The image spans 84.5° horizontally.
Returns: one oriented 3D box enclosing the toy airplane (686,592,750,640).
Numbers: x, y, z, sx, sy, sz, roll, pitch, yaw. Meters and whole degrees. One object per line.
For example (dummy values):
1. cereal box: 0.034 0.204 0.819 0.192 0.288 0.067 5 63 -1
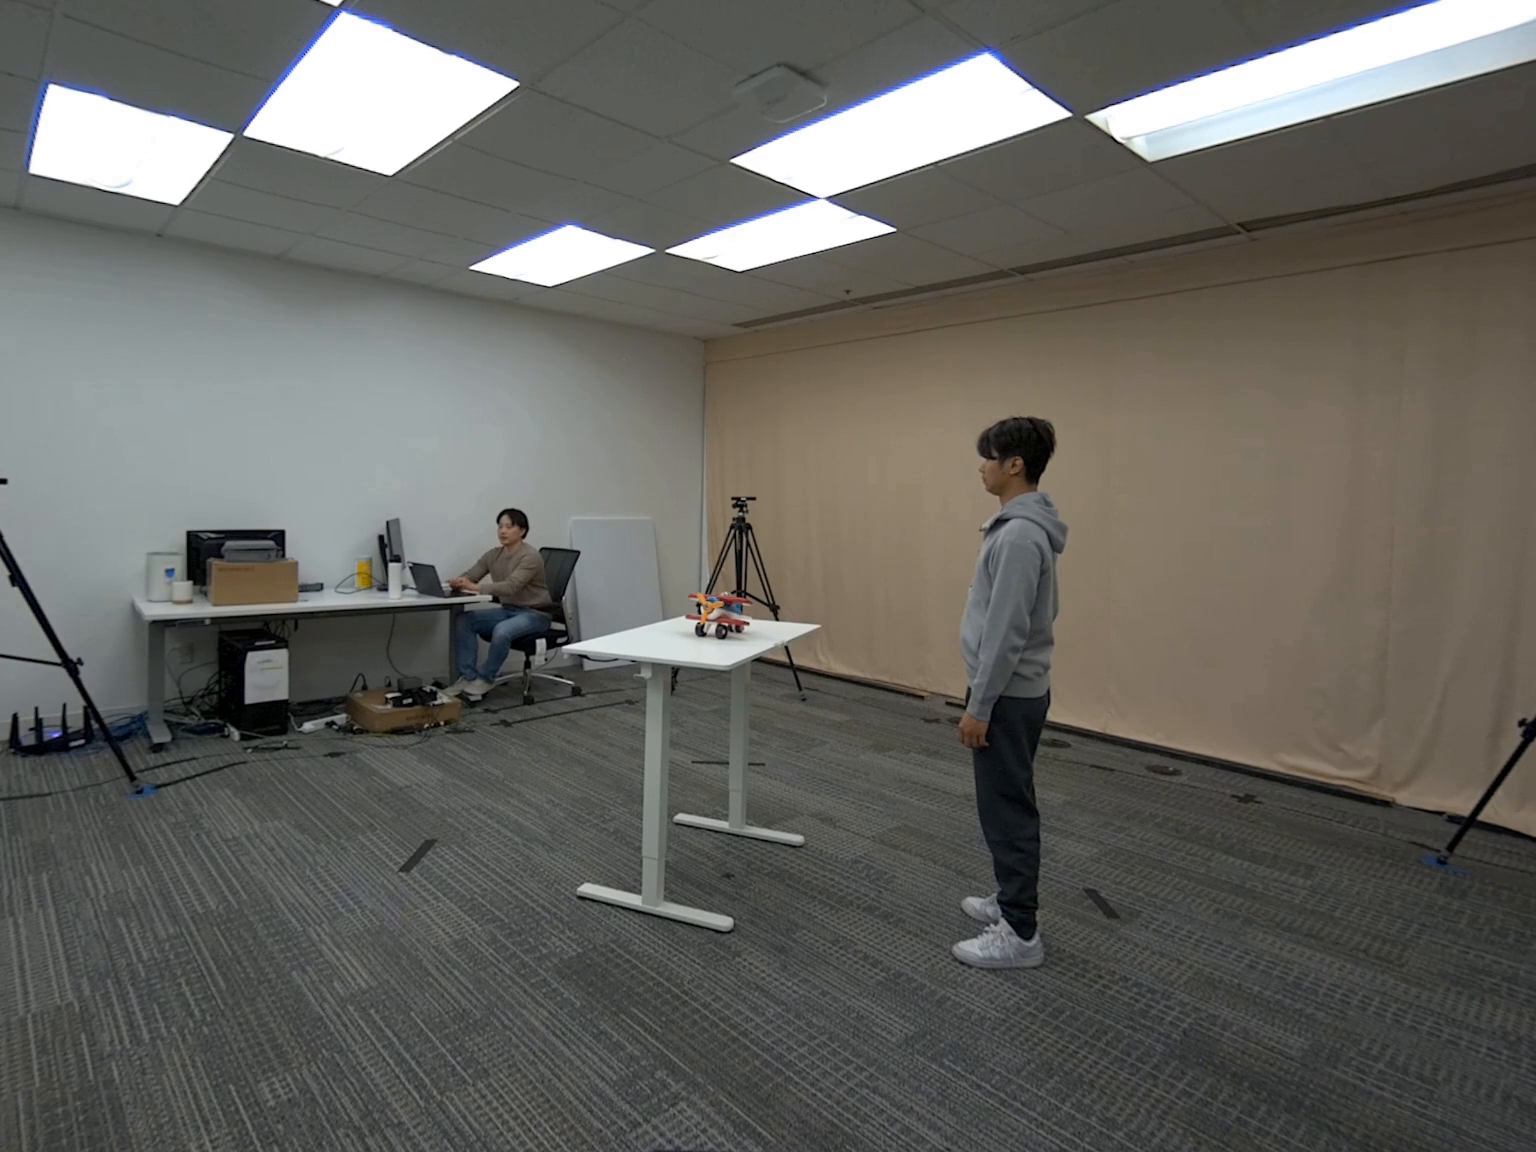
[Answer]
1. toy airplane: -0.189 0.143 3.142 0.251 0.156 0.260 3 5 -1
